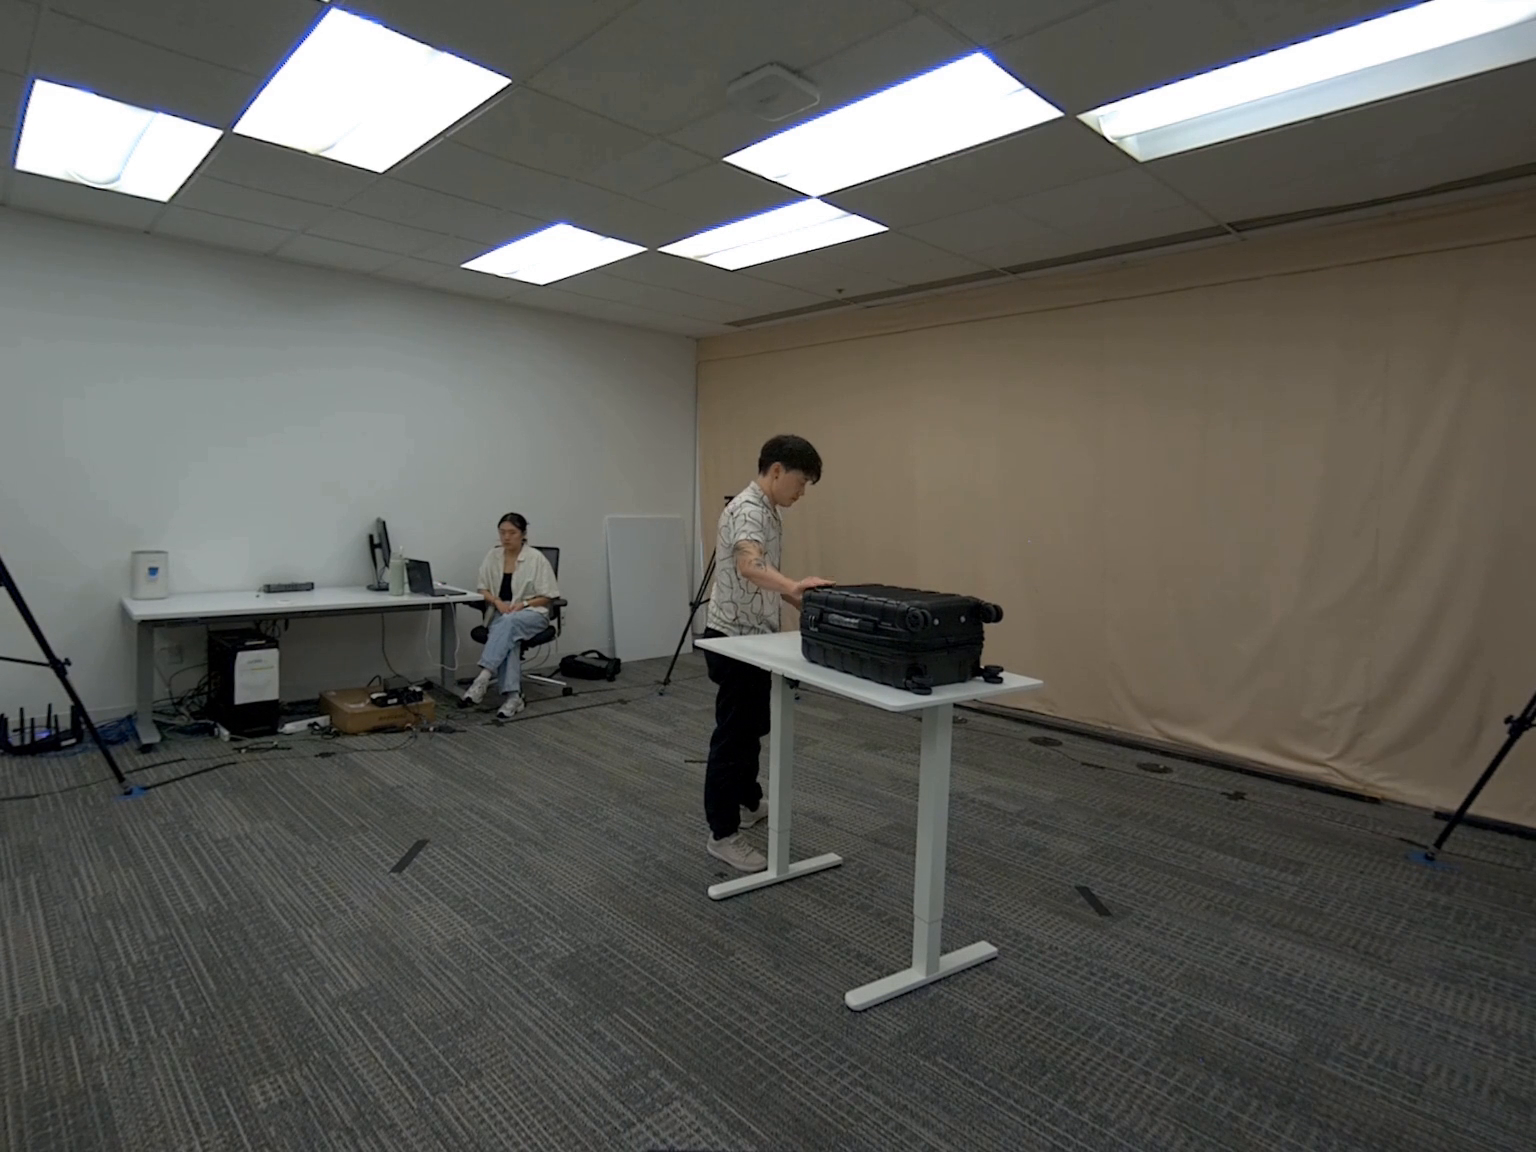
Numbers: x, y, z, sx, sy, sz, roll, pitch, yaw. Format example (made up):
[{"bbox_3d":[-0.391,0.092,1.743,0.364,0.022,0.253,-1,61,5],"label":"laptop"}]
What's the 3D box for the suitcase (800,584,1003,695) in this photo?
[{"bbox_3d":[0.358,0.171,2.533,0.367,0.247,0.563,-3,7,-36],"label":"suitcase"}]
